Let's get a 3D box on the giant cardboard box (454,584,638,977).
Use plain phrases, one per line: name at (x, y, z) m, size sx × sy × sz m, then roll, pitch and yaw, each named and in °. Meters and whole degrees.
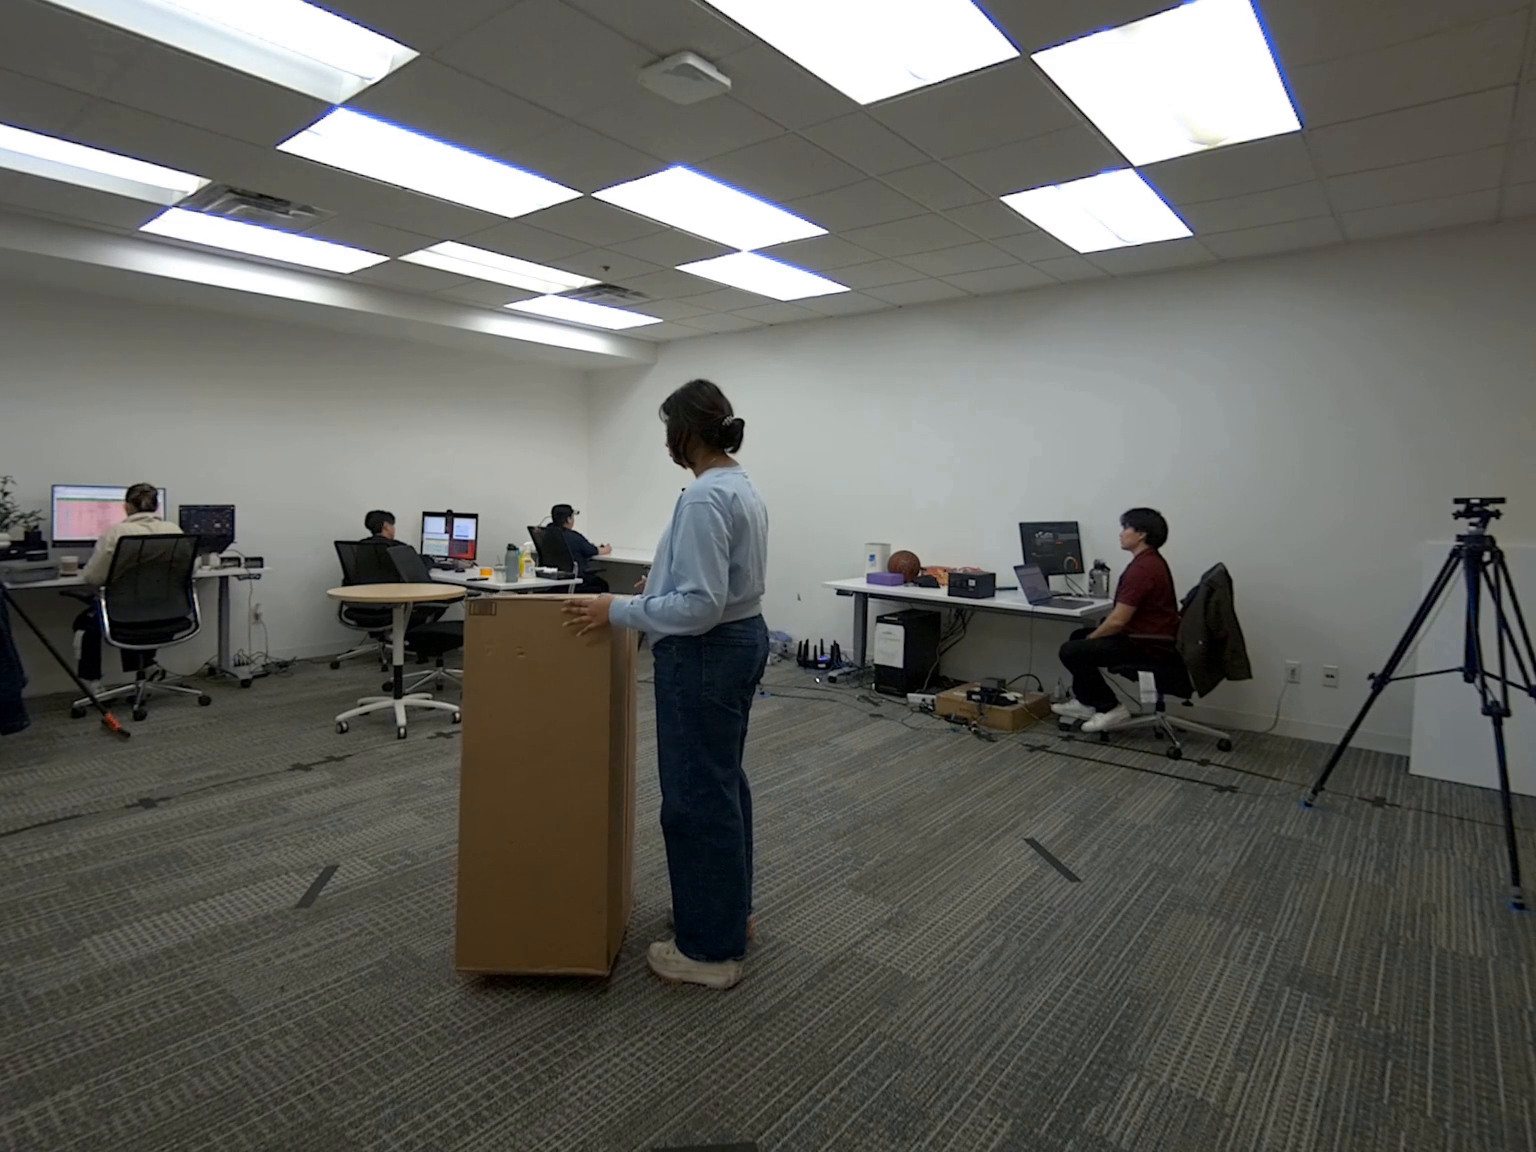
giant cardboard box at (-0.660, 0.574, 2.623) m, size 0.448 × 1.030 × 0.581 m, roll 1°, pitch -3°, yaw 1°
